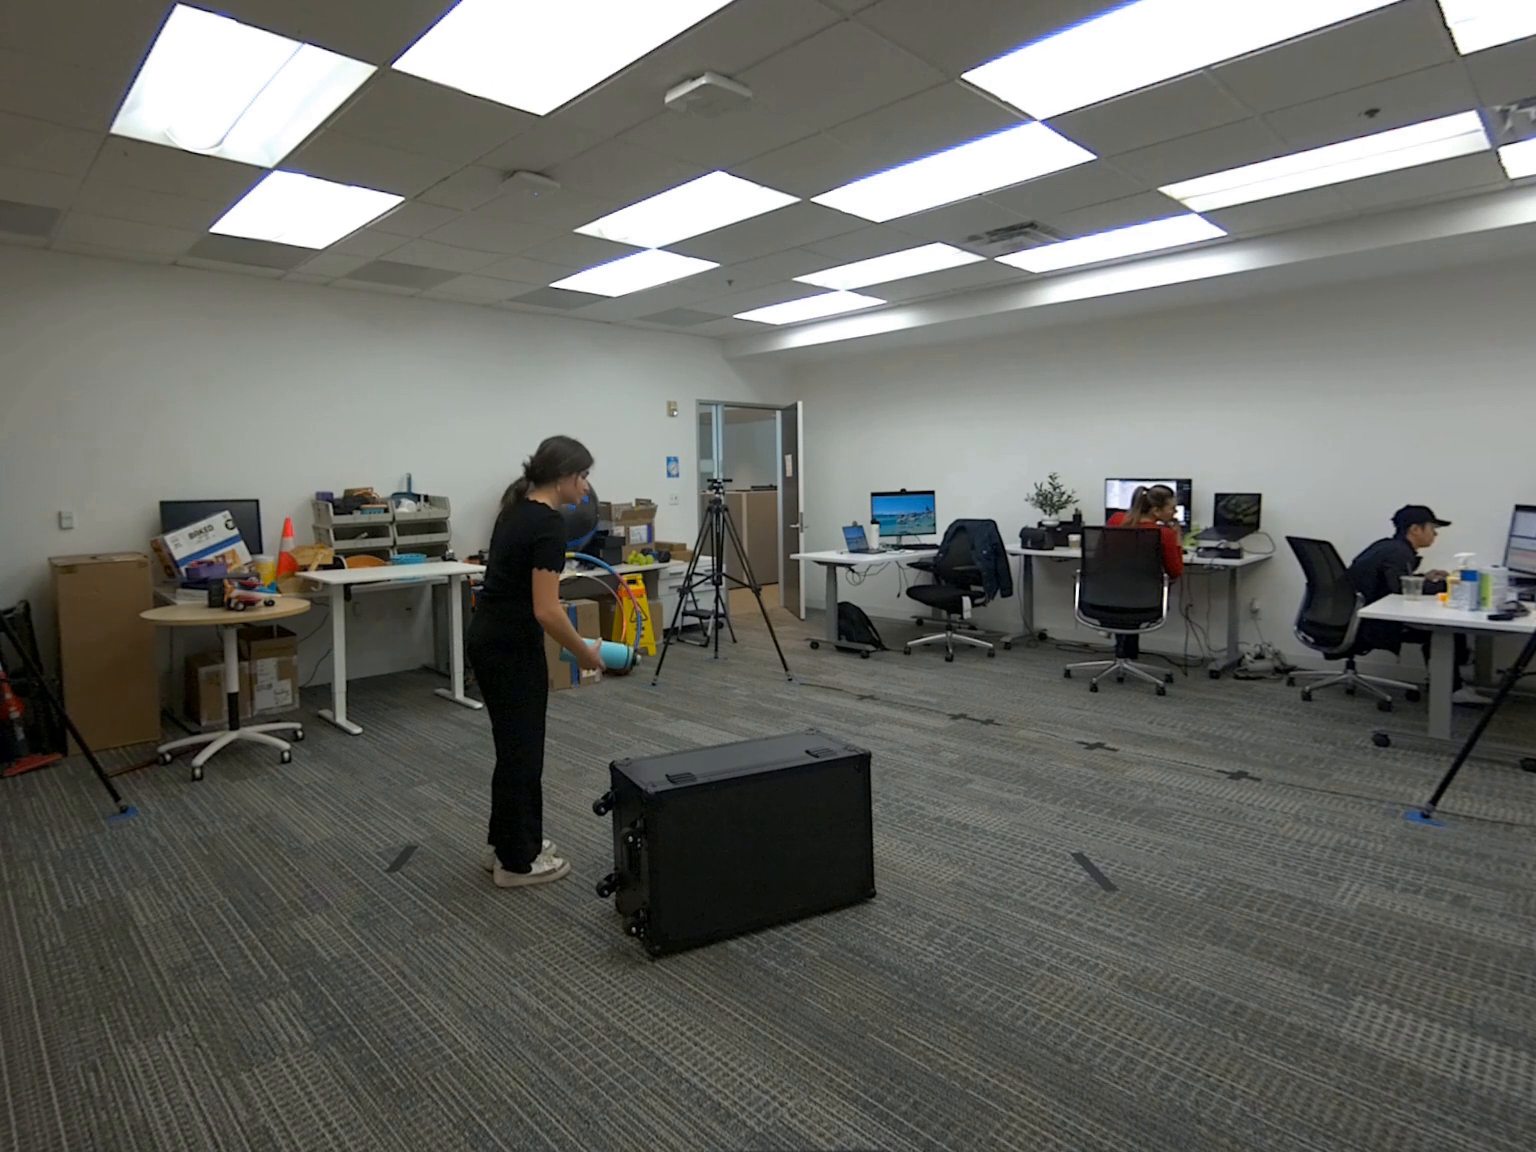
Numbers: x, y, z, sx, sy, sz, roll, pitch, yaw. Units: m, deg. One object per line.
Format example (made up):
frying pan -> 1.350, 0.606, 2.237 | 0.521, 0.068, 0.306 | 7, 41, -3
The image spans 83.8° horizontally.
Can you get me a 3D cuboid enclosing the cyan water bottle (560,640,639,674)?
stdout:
cyan water bottle -> -0.598, 0.283, 3.042 | 0.278, 0.092, 0.094 | 9, 1, -18
